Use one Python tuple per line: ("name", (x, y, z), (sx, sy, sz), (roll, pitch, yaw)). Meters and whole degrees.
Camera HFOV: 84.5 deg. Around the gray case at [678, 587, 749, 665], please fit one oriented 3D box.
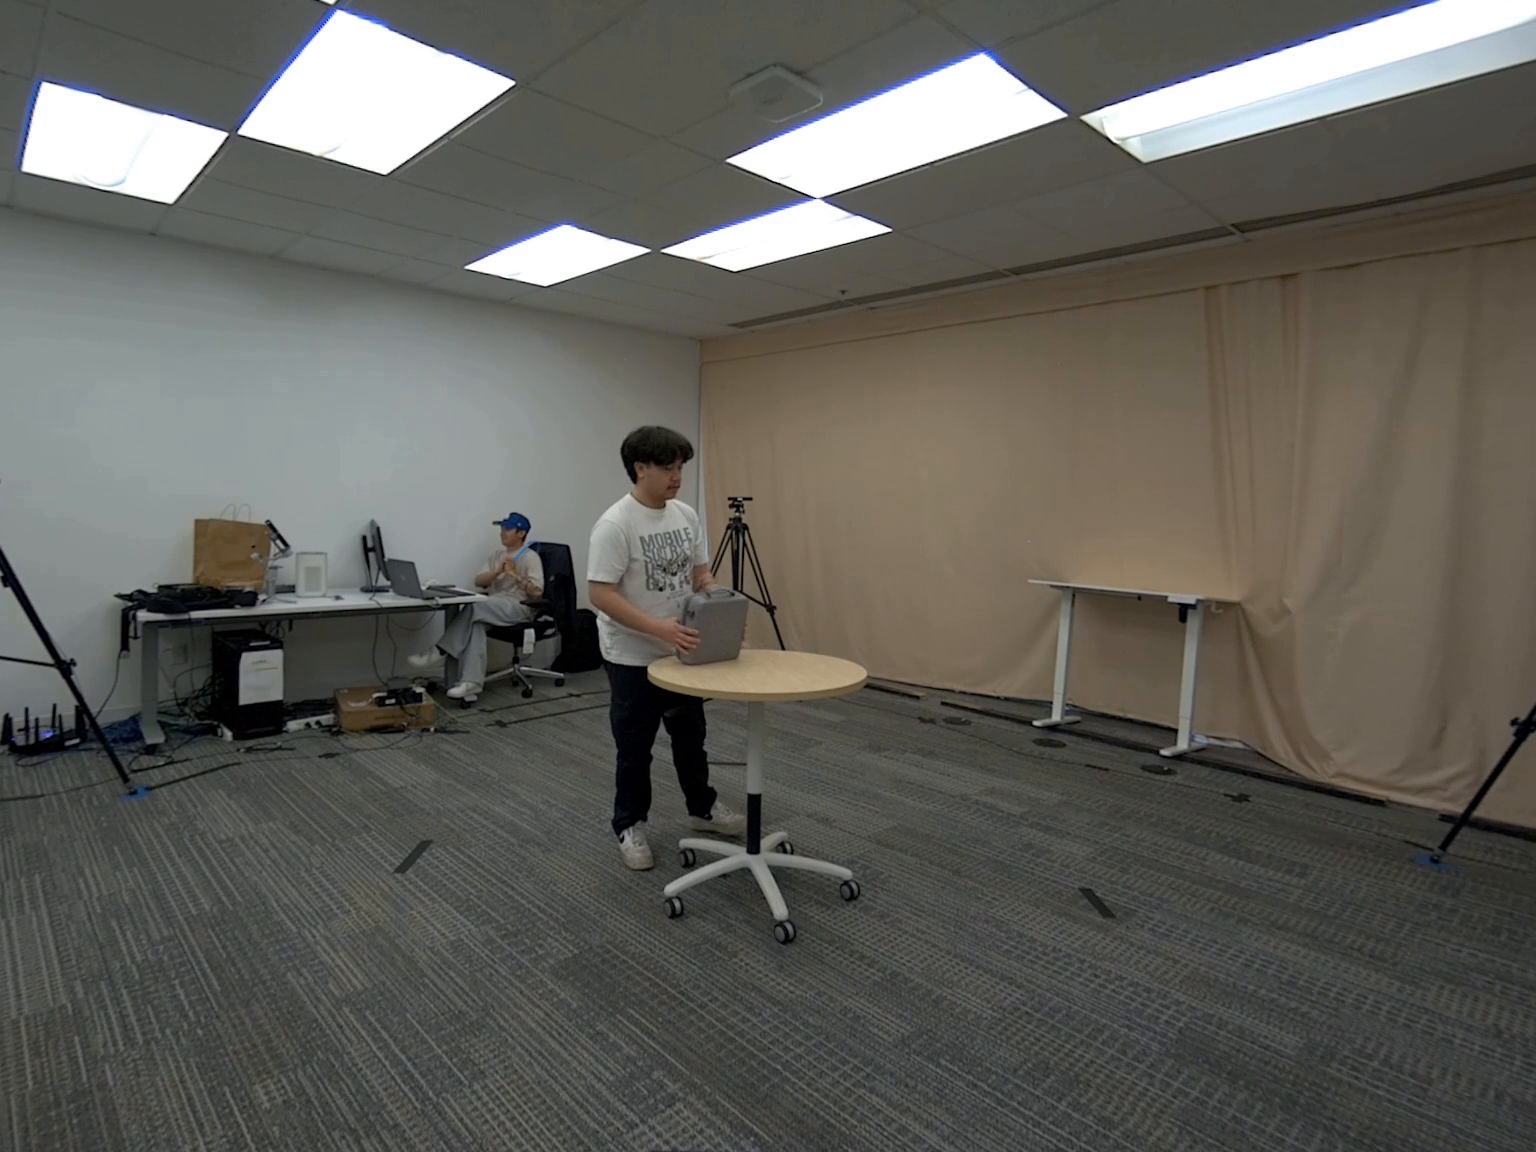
("gray case", (-0.213, 0.177, 3.060), (0.251, 0.258, 0.107), (-1, 15, -35))
